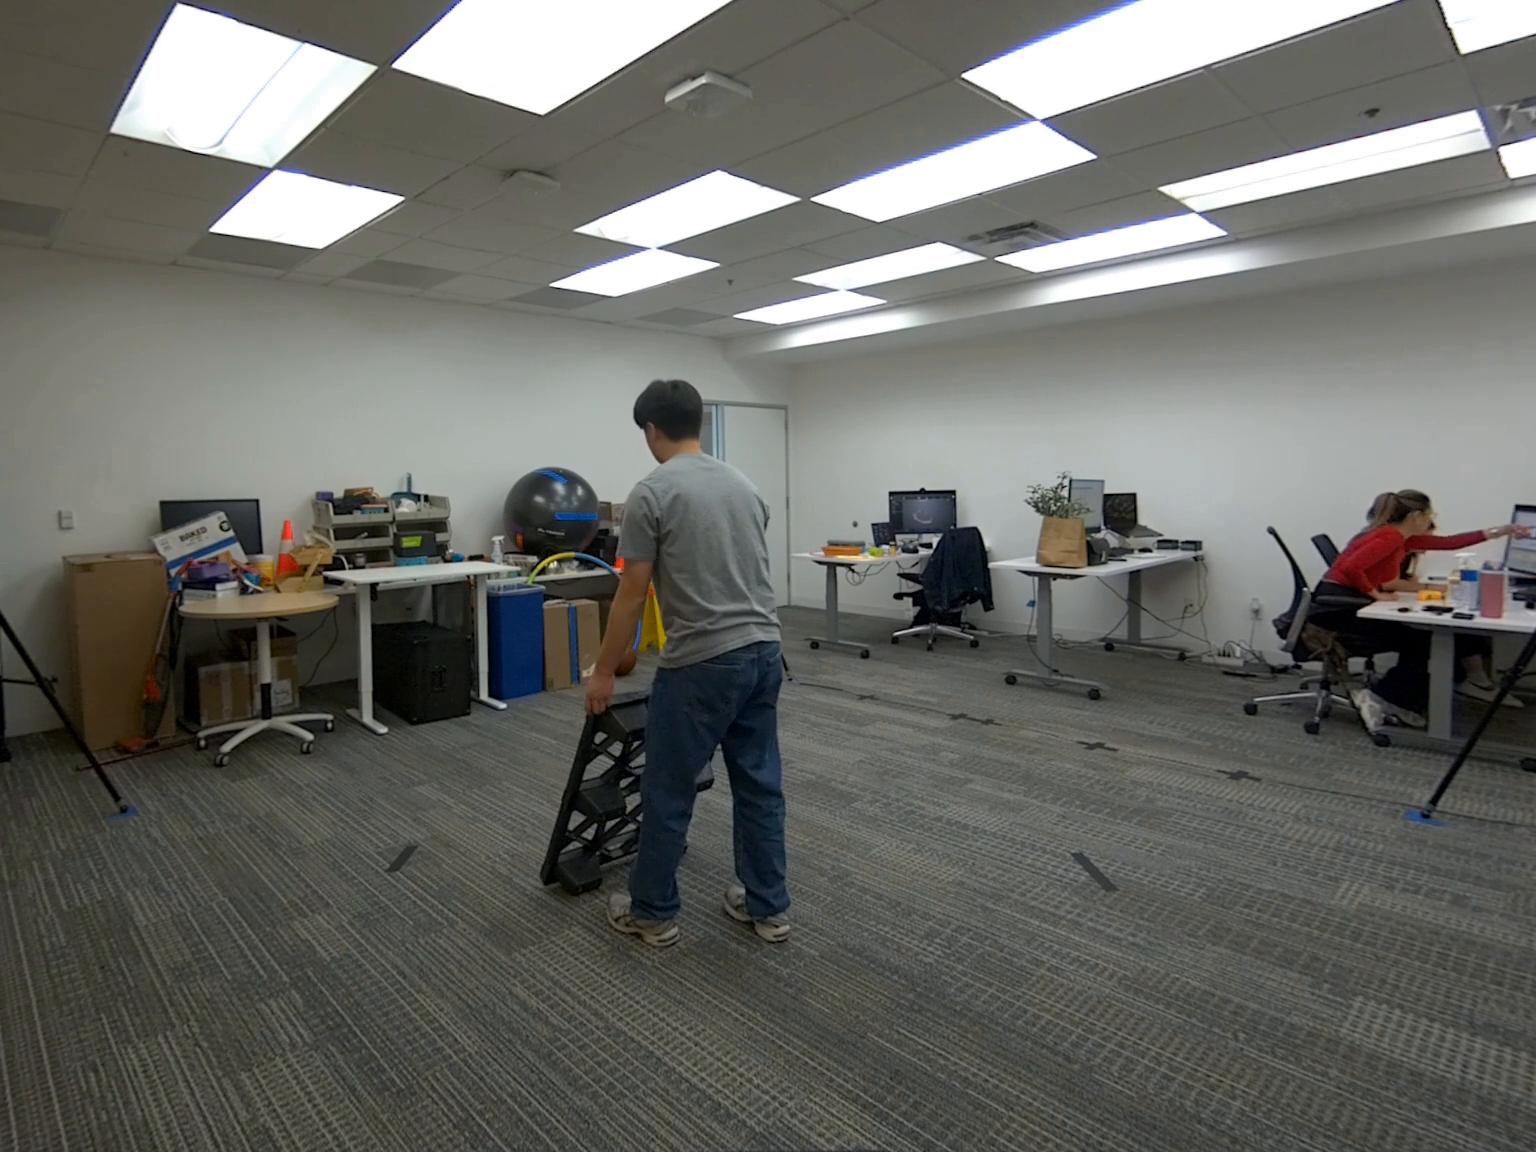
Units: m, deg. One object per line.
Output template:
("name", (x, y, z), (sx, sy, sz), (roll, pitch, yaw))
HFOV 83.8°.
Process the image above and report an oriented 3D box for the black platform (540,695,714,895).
("black platform", (-0.400, 0.718, 2.919), (0.589, 0.795, 0.149), (-5, 35, -41))
